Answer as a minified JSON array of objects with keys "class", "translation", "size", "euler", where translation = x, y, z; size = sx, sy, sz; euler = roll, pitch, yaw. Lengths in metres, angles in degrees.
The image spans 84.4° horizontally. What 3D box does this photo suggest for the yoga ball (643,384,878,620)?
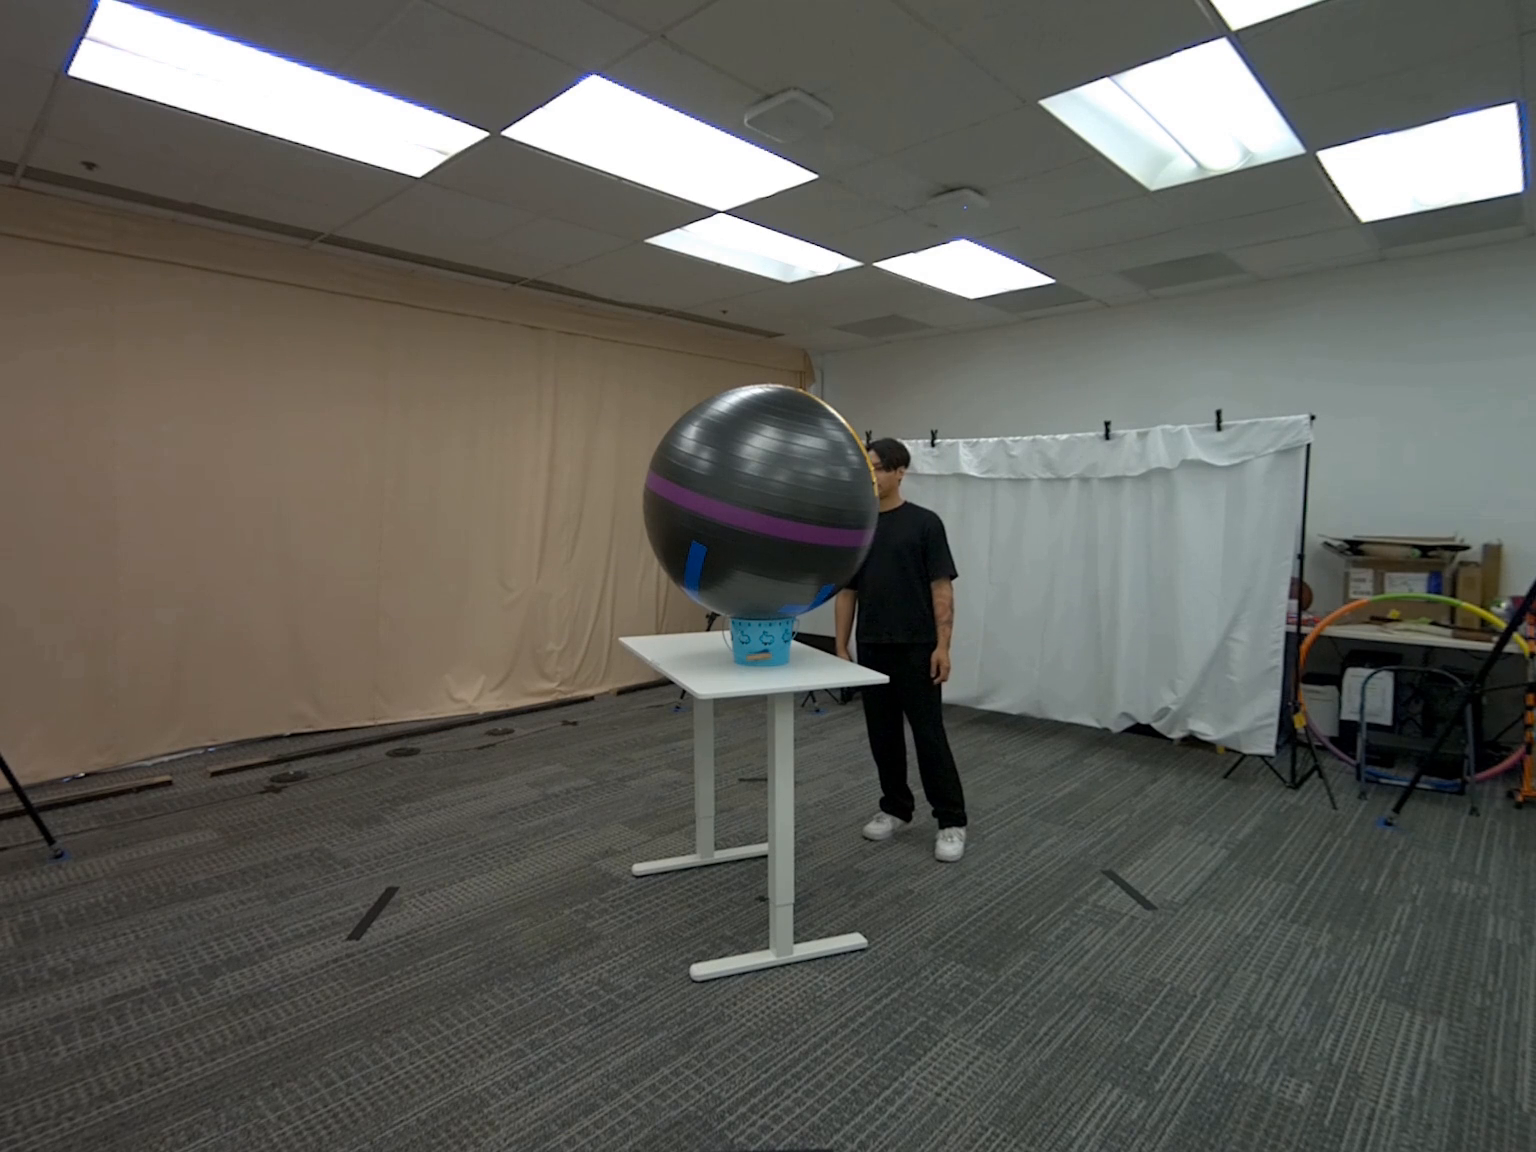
[{"class":"yoga ball","translation":[-0.019,-0.232,2.740],"size":[0.757,0.756,0.760],"euler":[0,4,-2]}]
